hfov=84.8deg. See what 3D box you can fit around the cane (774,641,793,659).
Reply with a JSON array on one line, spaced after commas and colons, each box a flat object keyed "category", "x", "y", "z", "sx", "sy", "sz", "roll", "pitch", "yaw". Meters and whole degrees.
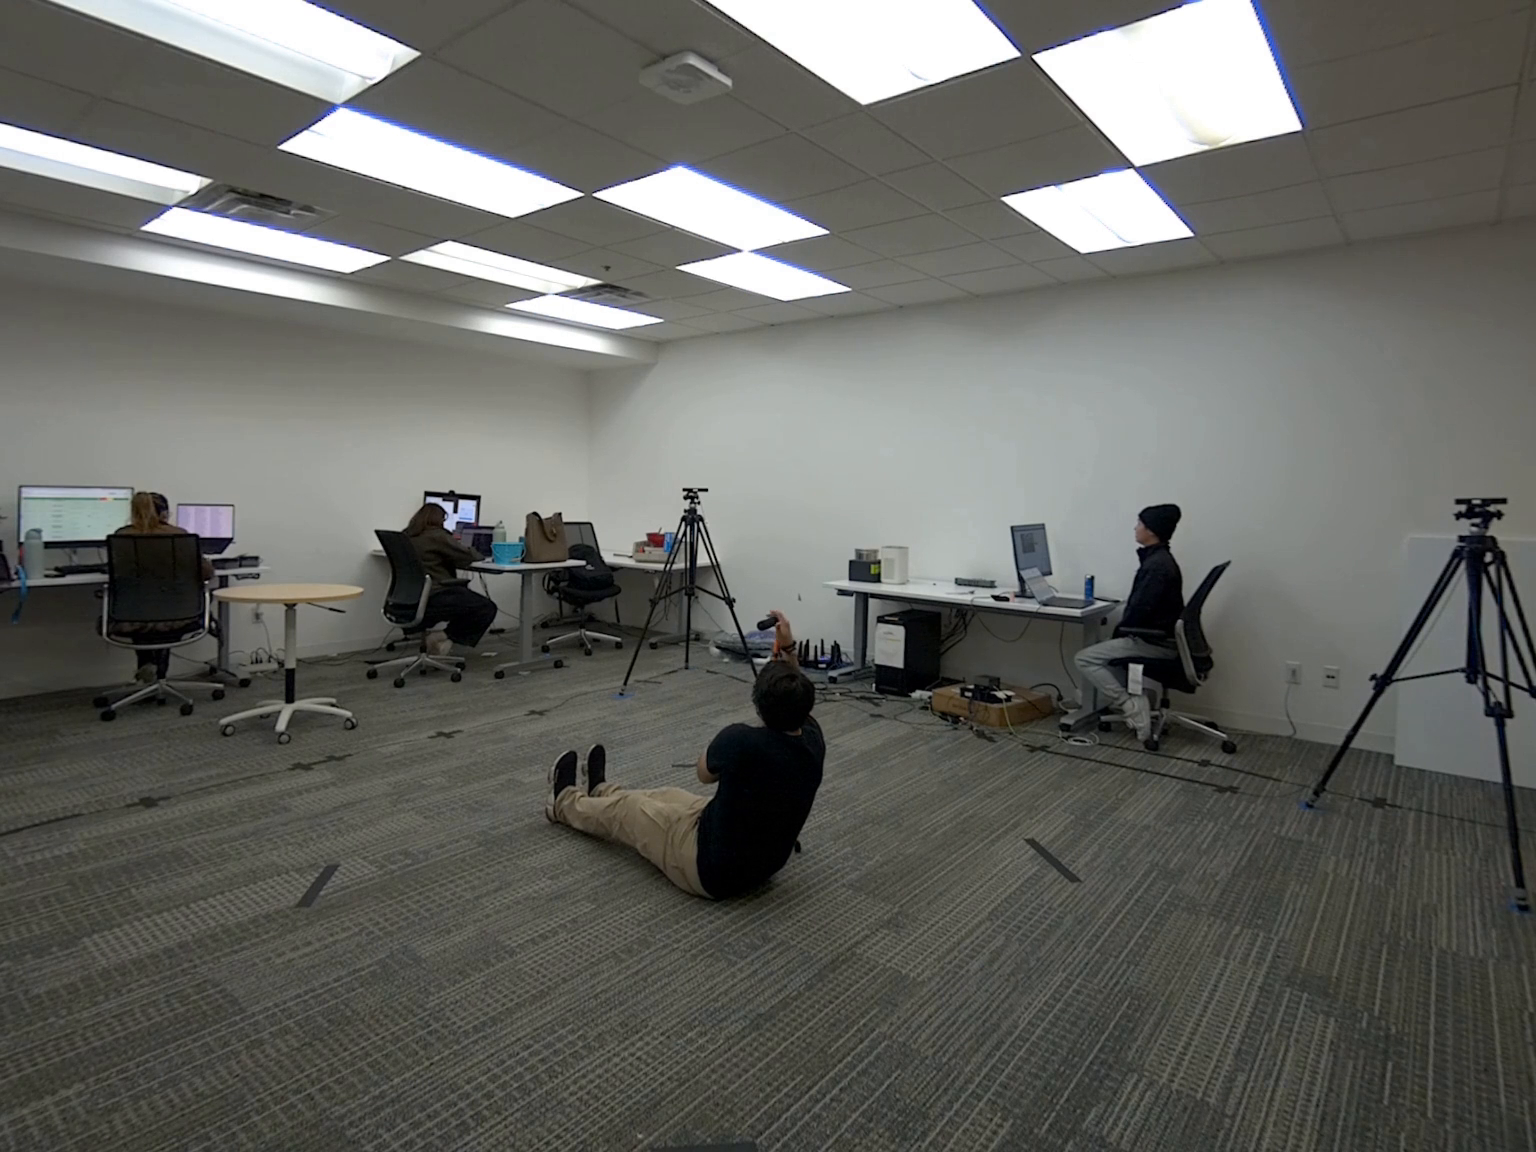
[{"category": "cane", "x": 0.022, "y": 0.607, "z": 3.205, "sx": 0.156, "sy": 0.904, "sz": 0.202, "roll": 3, "pitch": 5, "yaw": 26}]
